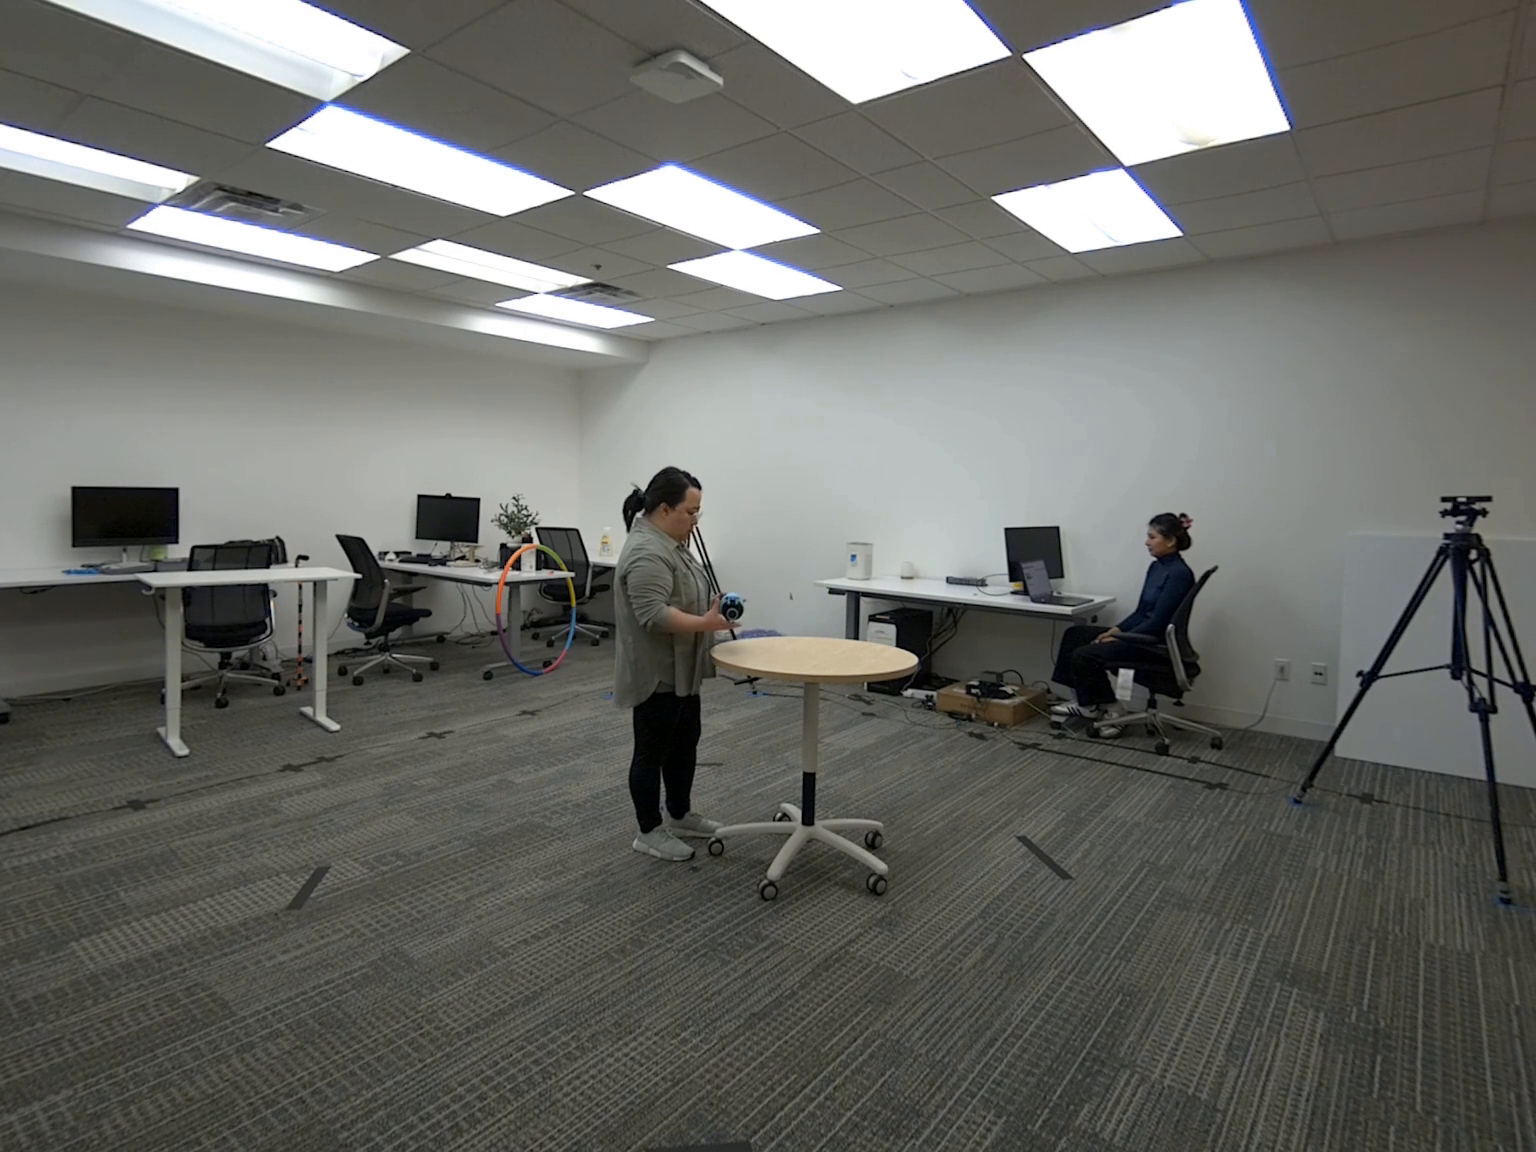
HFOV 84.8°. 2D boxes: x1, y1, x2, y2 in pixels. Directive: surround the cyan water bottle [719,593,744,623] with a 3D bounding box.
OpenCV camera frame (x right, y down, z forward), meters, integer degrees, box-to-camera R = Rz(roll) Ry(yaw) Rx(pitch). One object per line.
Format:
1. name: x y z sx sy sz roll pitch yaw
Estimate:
1. cyan water bottle: -0.143 0.121 3.172 0.092 0.092 0.283 1 1 -2
